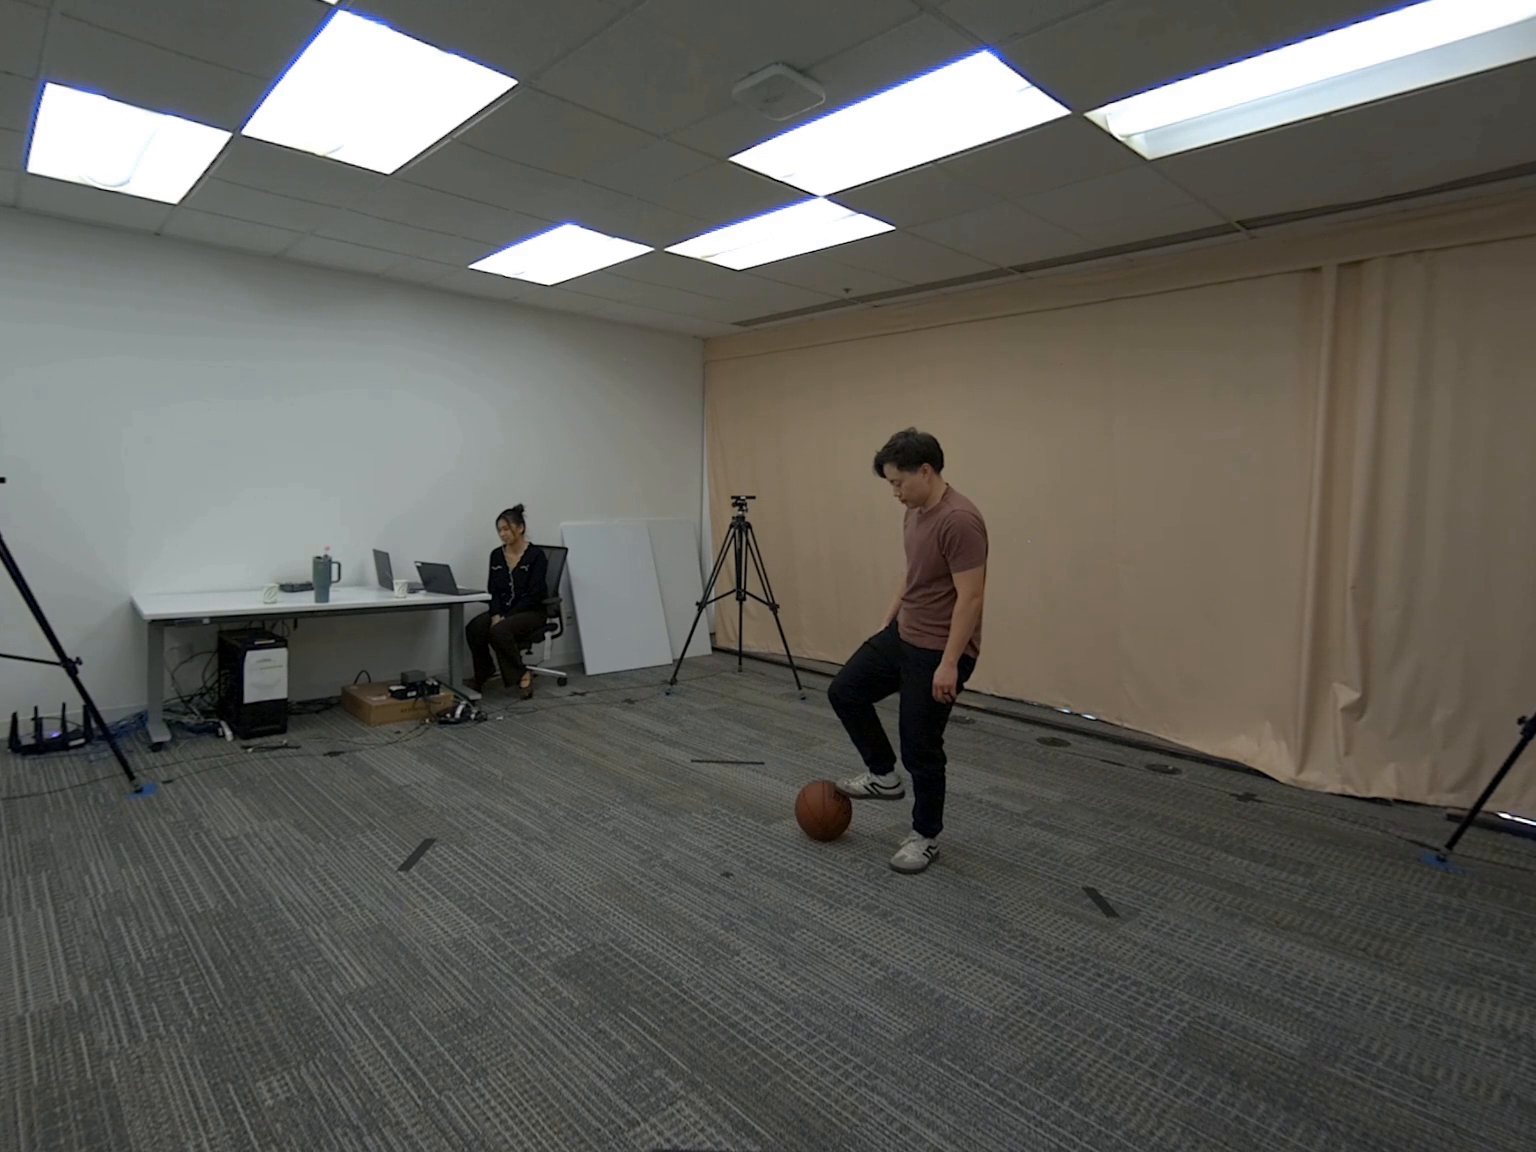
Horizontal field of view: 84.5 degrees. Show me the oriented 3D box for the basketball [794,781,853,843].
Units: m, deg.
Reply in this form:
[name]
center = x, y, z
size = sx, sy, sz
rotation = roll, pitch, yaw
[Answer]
[basketball]
center = 0.211, 0.961, 3.471
size = 0.236, 0.235, 0.237
rotation = 1, 4, -1
